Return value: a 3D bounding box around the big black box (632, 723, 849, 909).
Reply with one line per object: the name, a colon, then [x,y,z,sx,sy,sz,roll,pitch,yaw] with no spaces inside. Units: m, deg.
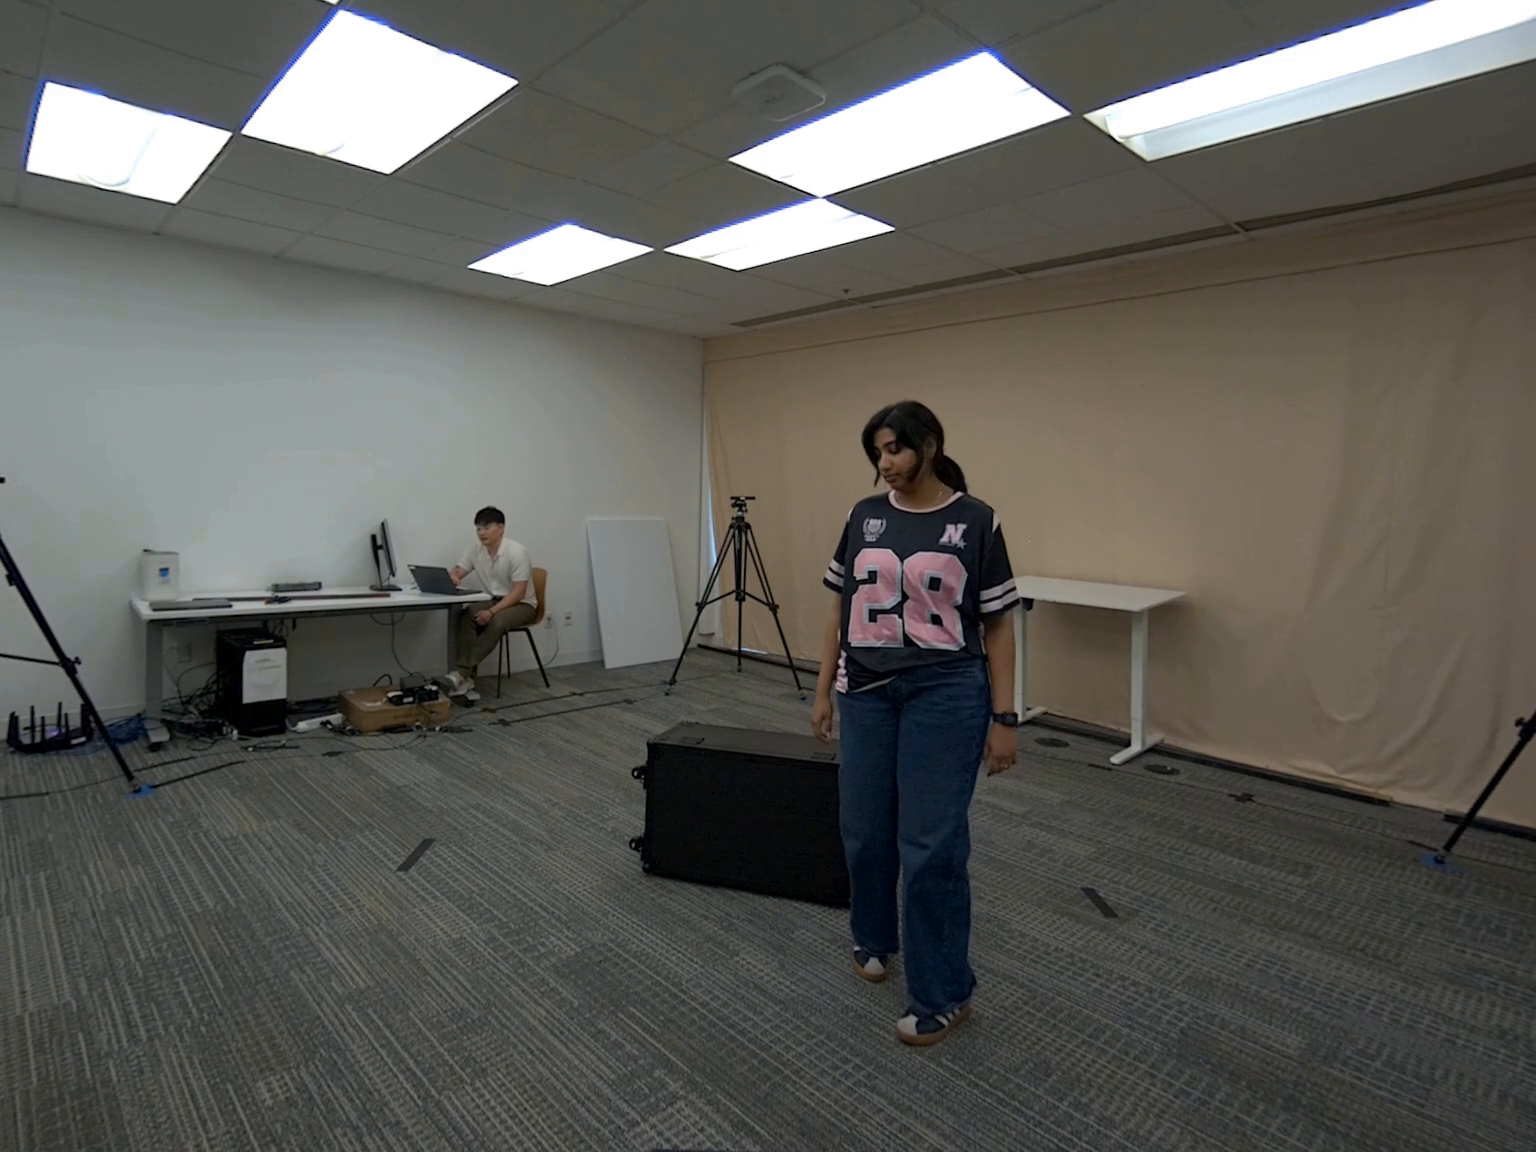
big black box: [-0.065,0.849,3.136,0.881,0.522,0.380,3,3,17]
